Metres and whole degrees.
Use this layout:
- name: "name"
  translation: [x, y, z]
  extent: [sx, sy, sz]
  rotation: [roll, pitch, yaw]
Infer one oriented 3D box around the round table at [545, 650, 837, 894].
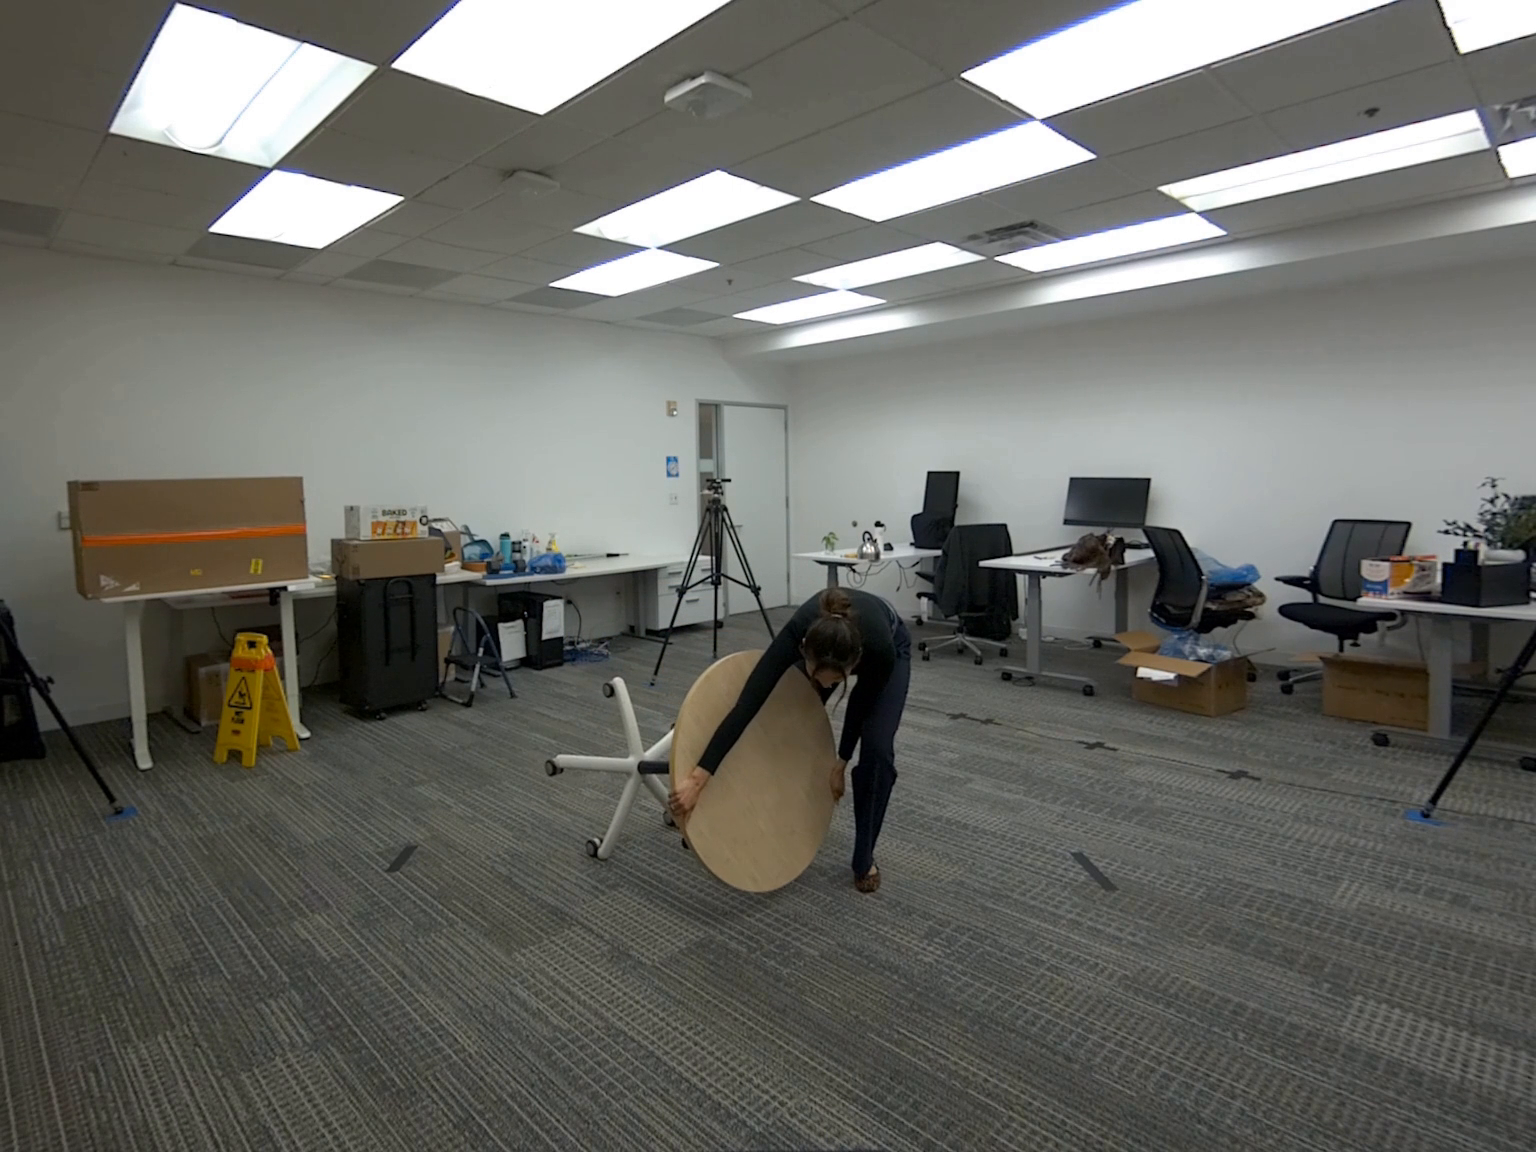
- name: "round table"
  translation: [-0.295, 0.699, 3.104]
  extent: [0.811, 0.768, 0.744]
  rotation: [-13, -5, 44]
